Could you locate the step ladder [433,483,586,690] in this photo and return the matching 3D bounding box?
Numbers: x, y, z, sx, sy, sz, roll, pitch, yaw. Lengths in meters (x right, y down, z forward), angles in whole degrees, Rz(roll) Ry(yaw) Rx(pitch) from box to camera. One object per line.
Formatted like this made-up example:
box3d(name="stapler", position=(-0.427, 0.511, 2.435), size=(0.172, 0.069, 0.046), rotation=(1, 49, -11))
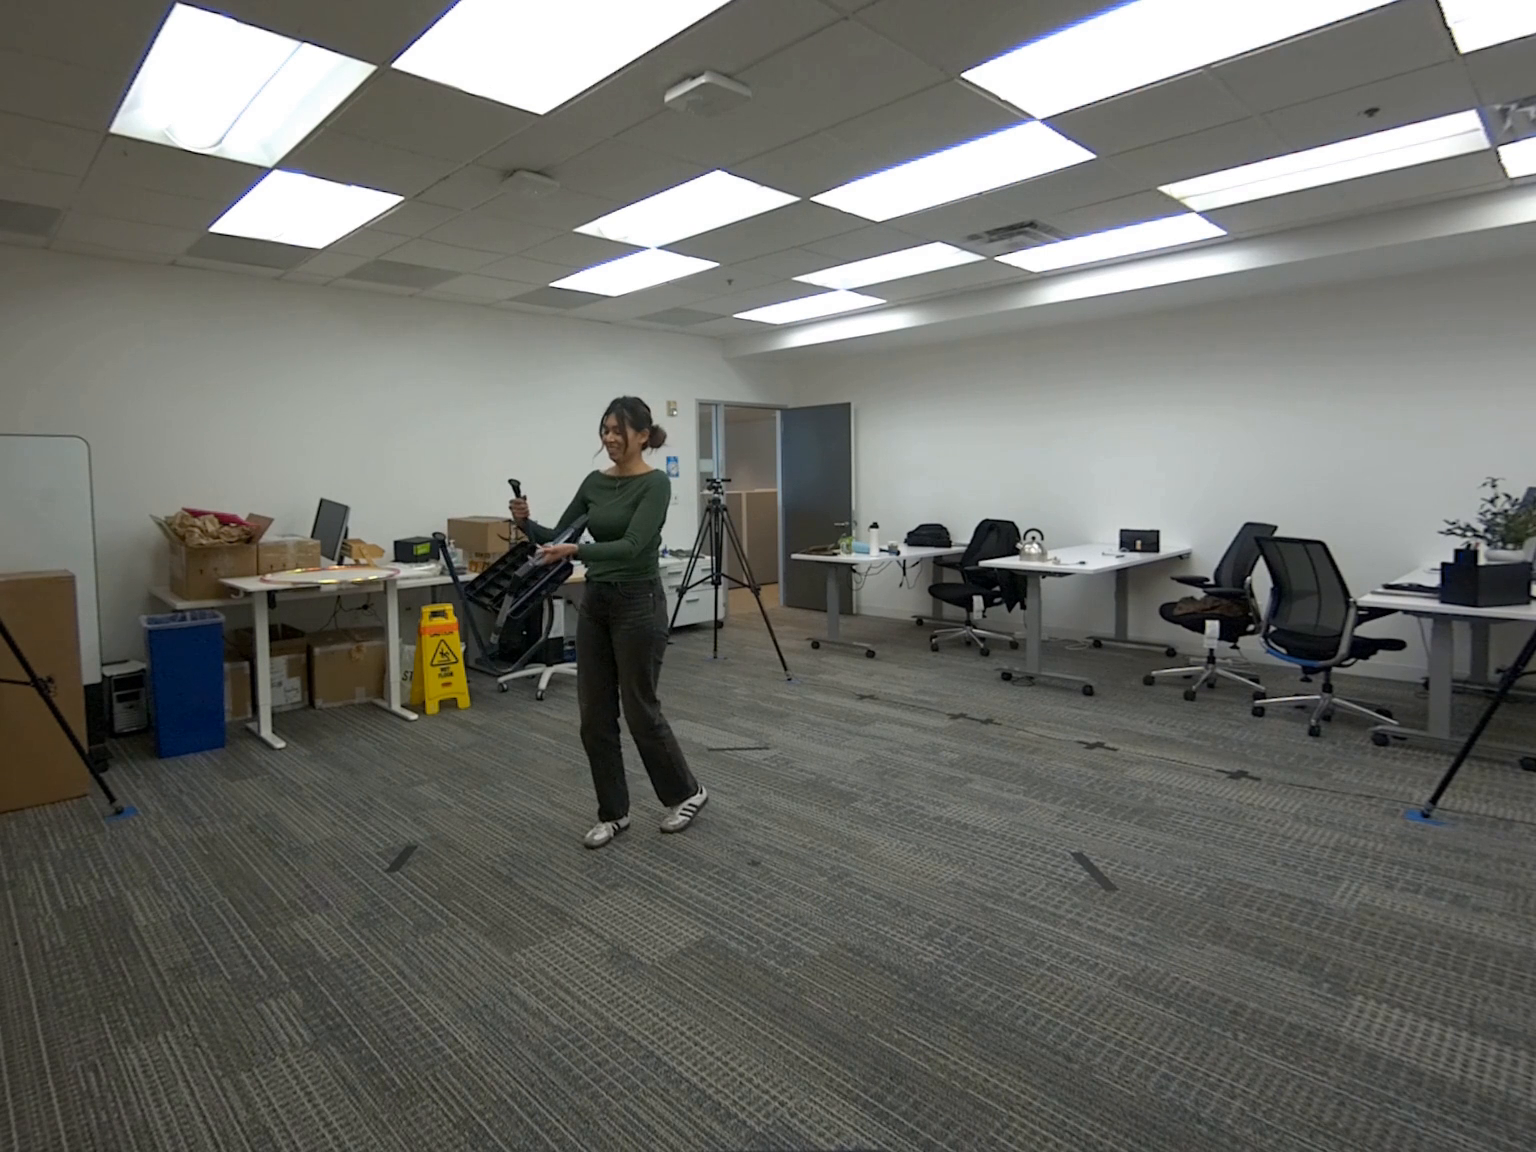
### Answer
box3d(name="step ladder", position=(-0.917, 0.050, 3.105), size=(0.356, 0.594, 0.431), rotation=(25, 39, 13))
